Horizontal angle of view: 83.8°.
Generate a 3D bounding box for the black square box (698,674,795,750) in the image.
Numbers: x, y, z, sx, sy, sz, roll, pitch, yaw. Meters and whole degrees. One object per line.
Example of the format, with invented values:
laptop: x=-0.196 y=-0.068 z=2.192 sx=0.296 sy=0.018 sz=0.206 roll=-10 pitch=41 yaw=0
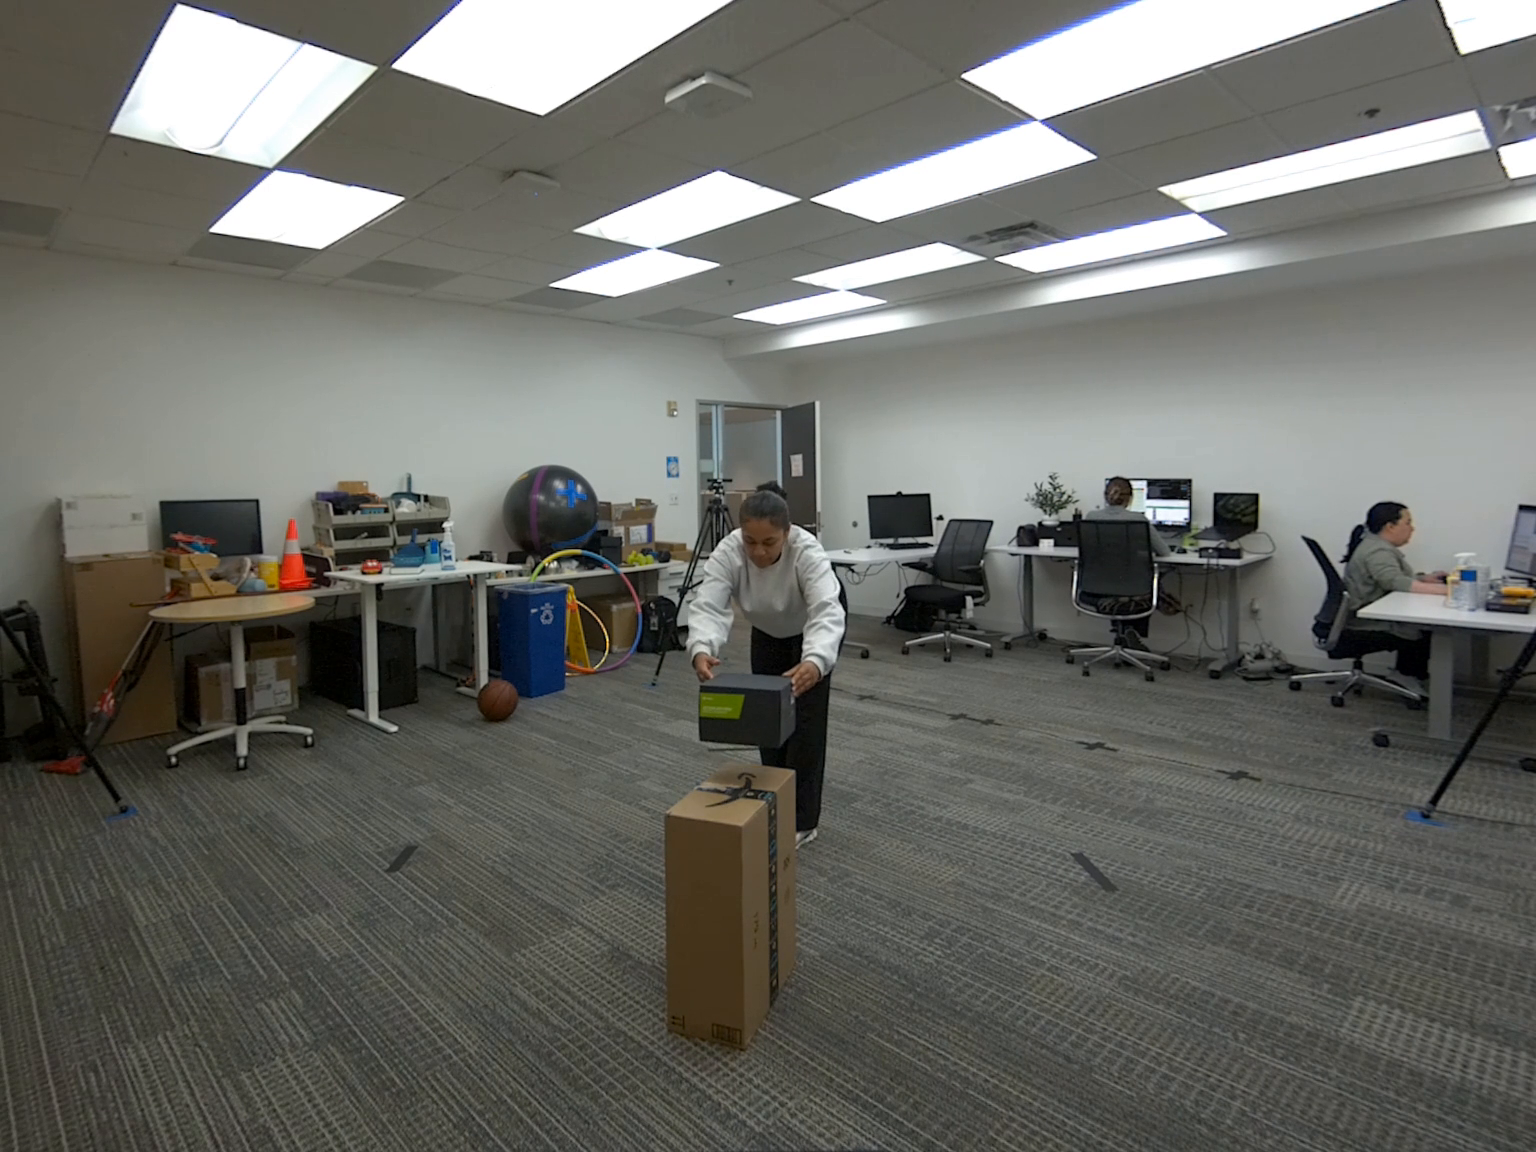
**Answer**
black square box: x=-0.063 y=0.380 z=2.413 sx=0.231 sy=0.155 sz=0.214 roll=2 pitch=3 yaw=15
